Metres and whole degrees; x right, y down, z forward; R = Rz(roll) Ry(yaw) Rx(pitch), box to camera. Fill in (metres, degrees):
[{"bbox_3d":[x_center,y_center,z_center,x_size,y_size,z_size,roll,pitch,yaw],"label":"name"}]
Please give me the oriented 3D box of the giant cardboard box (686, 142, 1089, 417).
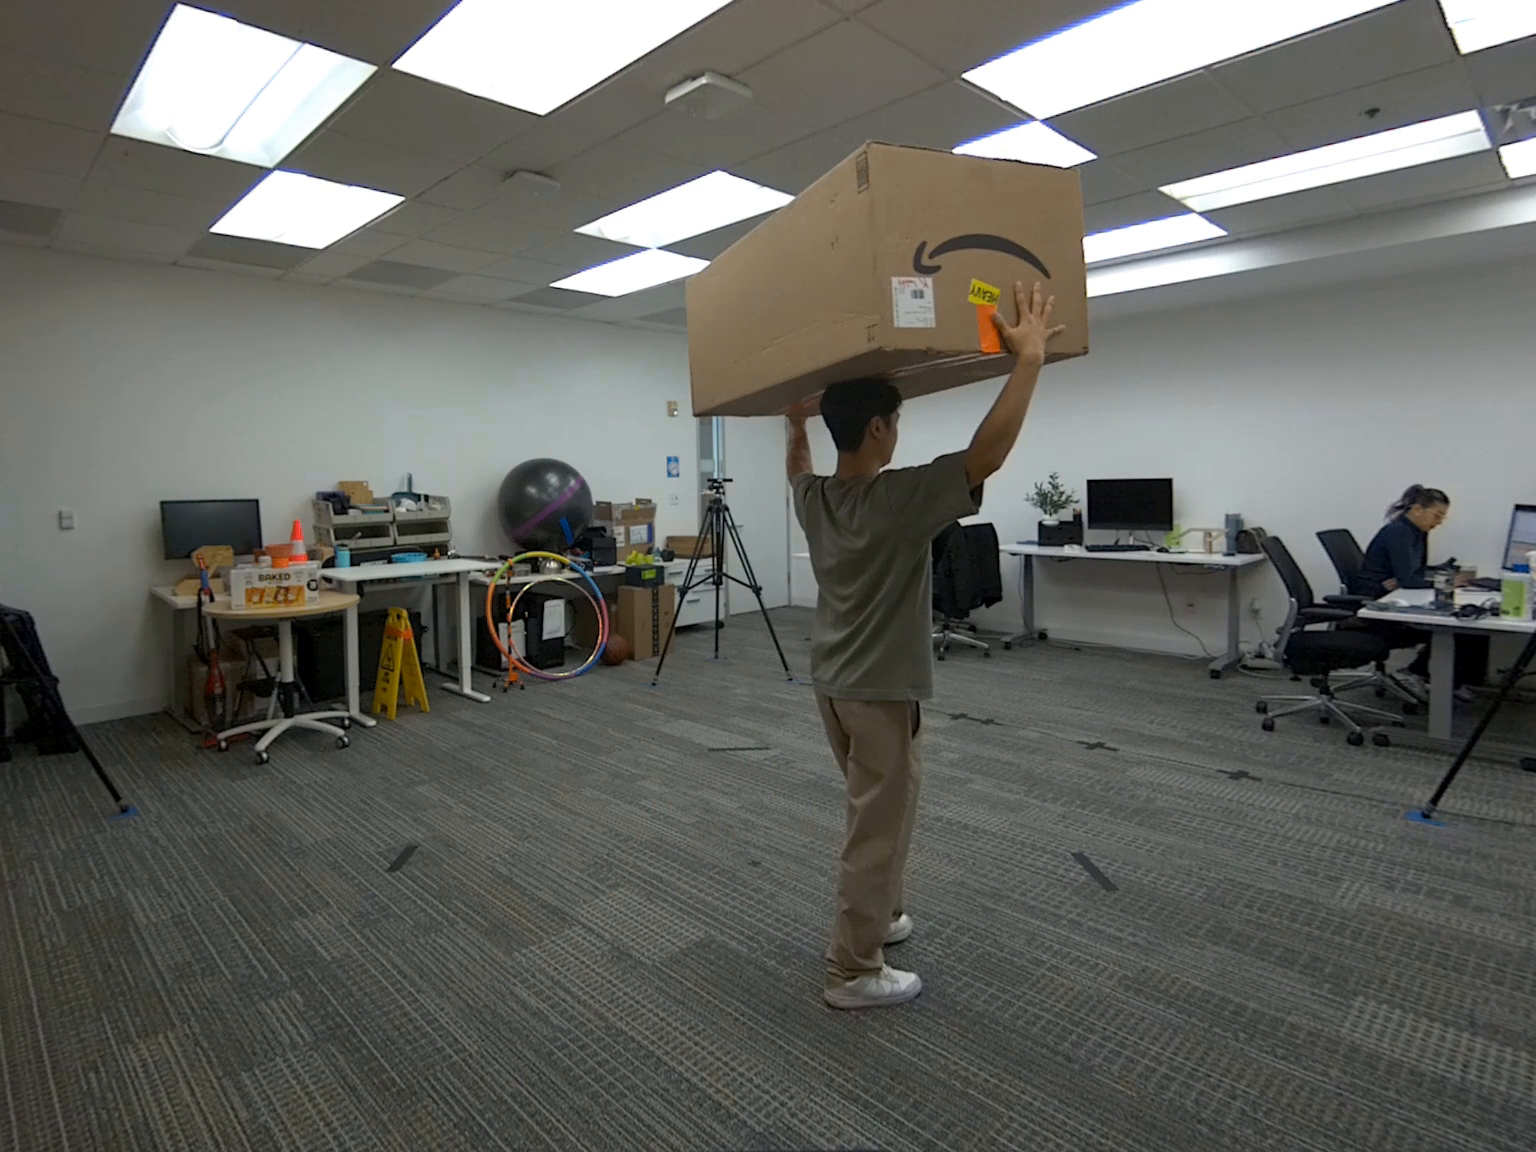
[{"bbox_3d":[0.243,-0.707,2.304,0.566,0.425,1.049,-5,4,-26],"label":"giant cardboard box"}]
